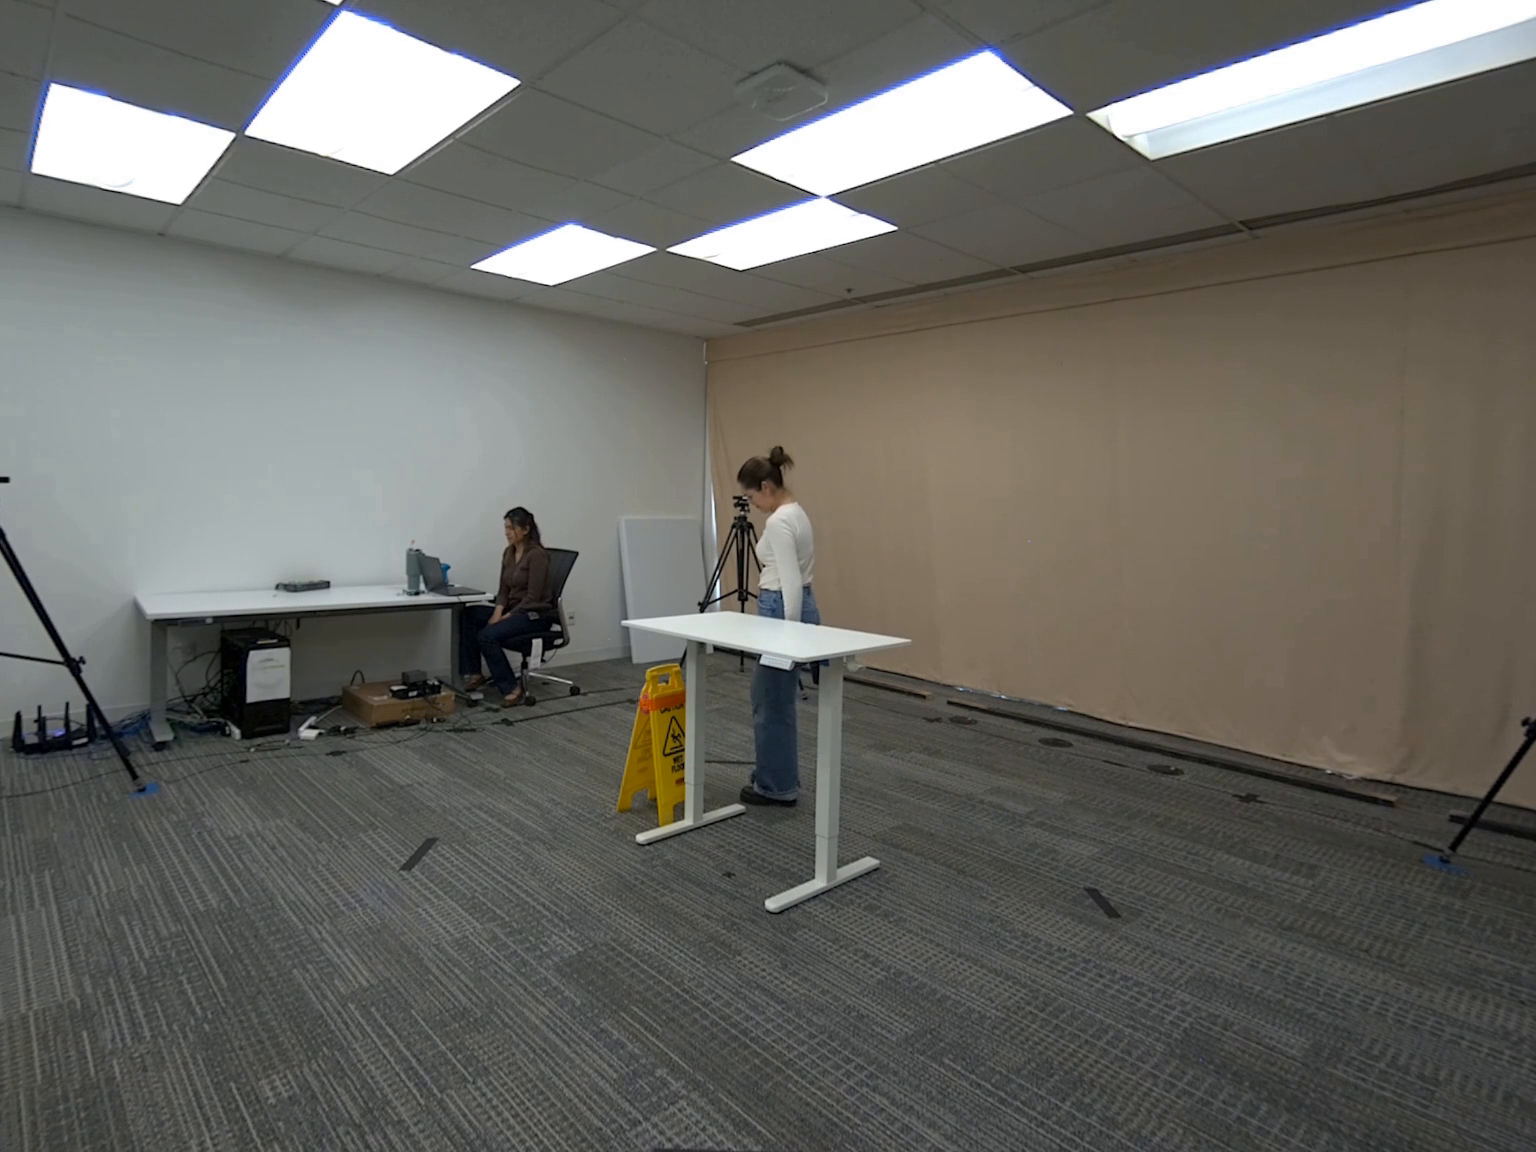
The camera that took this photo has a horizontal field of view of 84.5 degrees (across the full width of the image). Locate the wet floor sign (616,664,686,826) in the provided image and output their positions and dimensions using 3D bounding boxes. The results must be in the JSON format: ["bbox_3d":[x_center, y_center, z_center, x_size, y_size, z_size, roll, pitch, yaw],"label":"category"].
[{"bbox_3d":[-0.477,0.720,3.710,0.297,0.645,0.276,3,2,38],"label":"wet floor sign"}]
